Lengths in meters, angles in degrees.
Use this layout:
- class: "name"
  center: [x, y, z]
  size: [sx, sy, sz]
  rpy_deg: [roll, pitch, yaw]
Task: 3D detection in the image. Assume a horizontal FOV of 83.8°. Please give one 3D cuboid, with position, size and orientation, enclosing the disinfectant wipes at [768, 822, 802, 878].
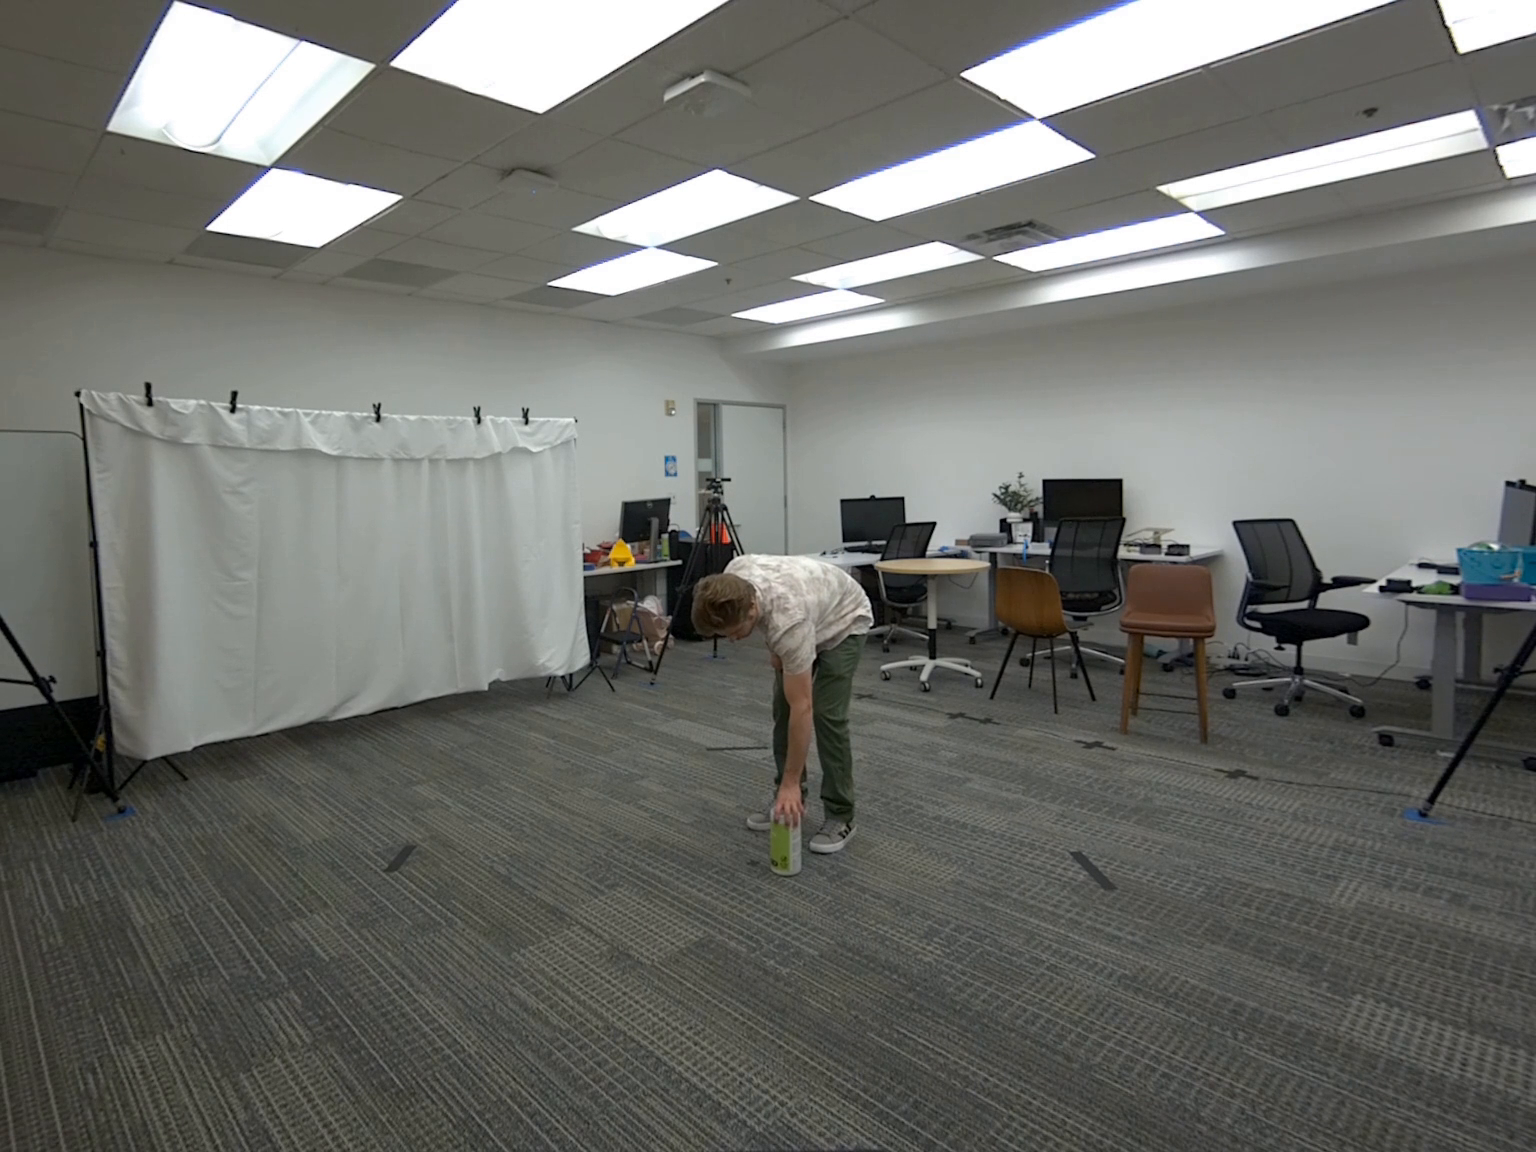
- class: "disinfectant wipes"
  center: [0.063, 0.947, 3.043]
  size: [0.118, 0.216, 0.118]
  rpy_deg: [-2, 5, -2]
